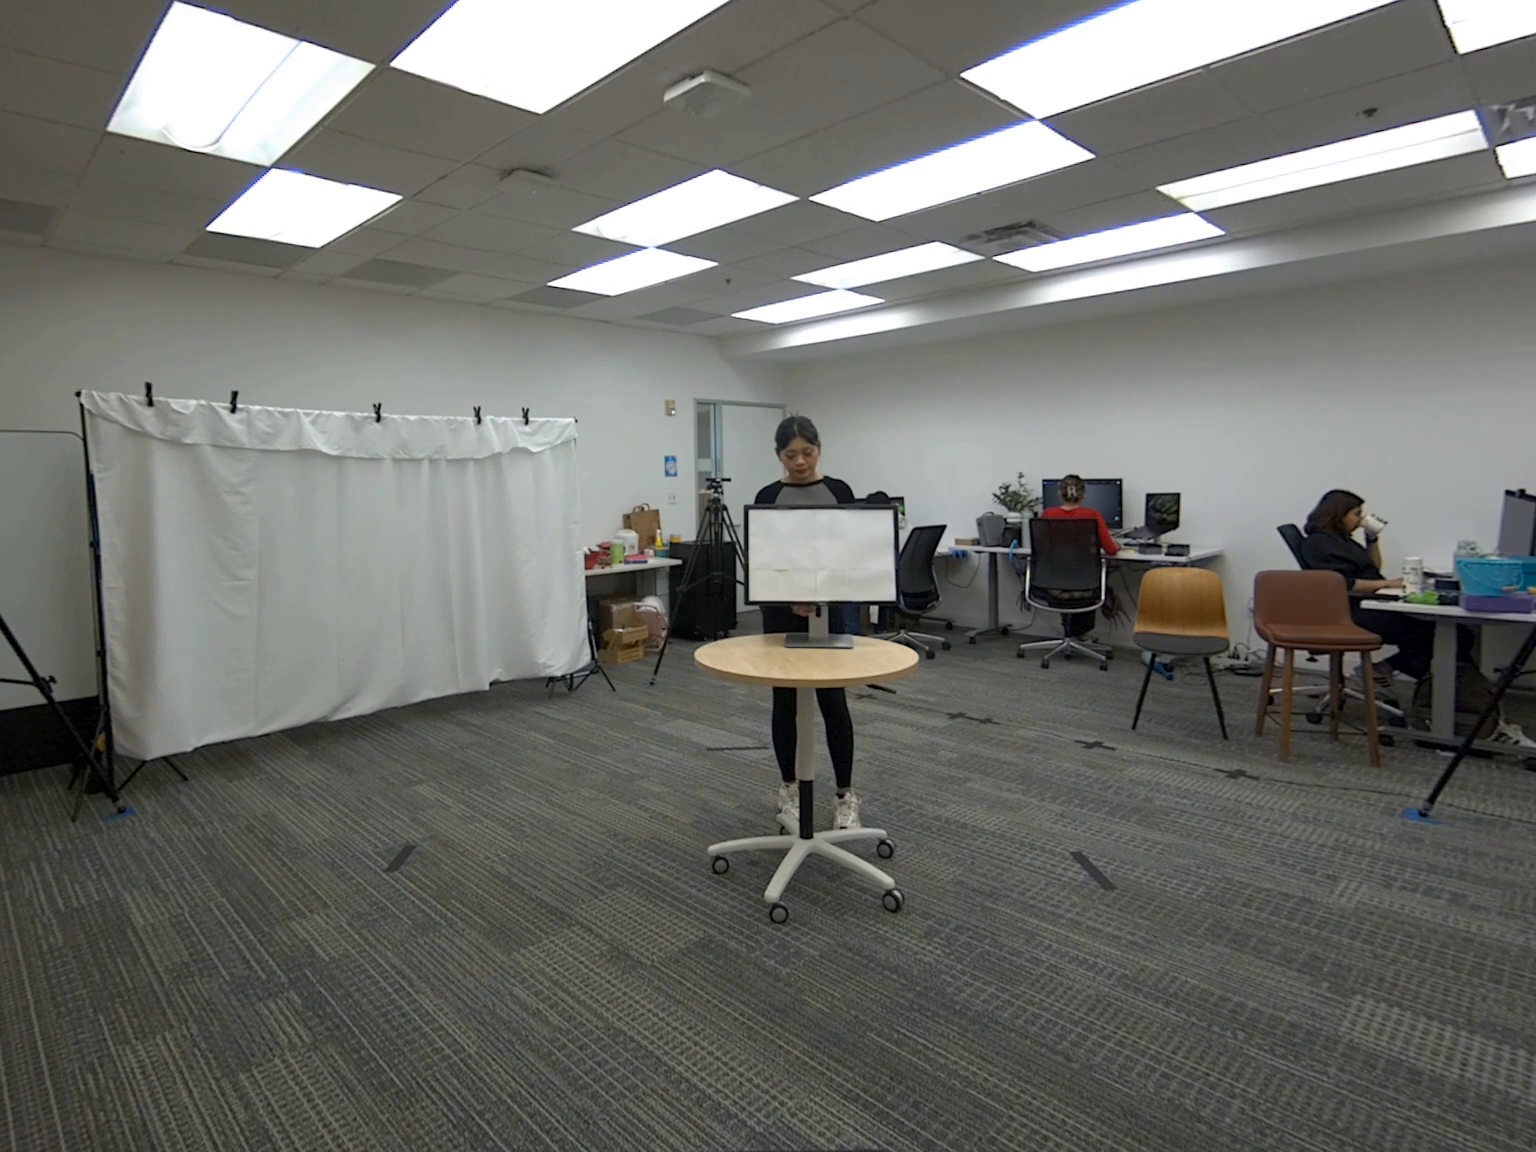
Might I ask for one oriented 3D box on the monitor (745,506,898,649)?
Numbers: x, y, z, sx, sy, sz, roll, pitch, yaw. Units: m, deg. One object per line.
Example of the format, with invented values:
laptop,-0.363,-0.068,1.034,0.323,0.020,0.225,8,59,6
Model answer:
monitor,0.179,0.001,3.115,0.538,0.520,0.188,-1,4,-2
